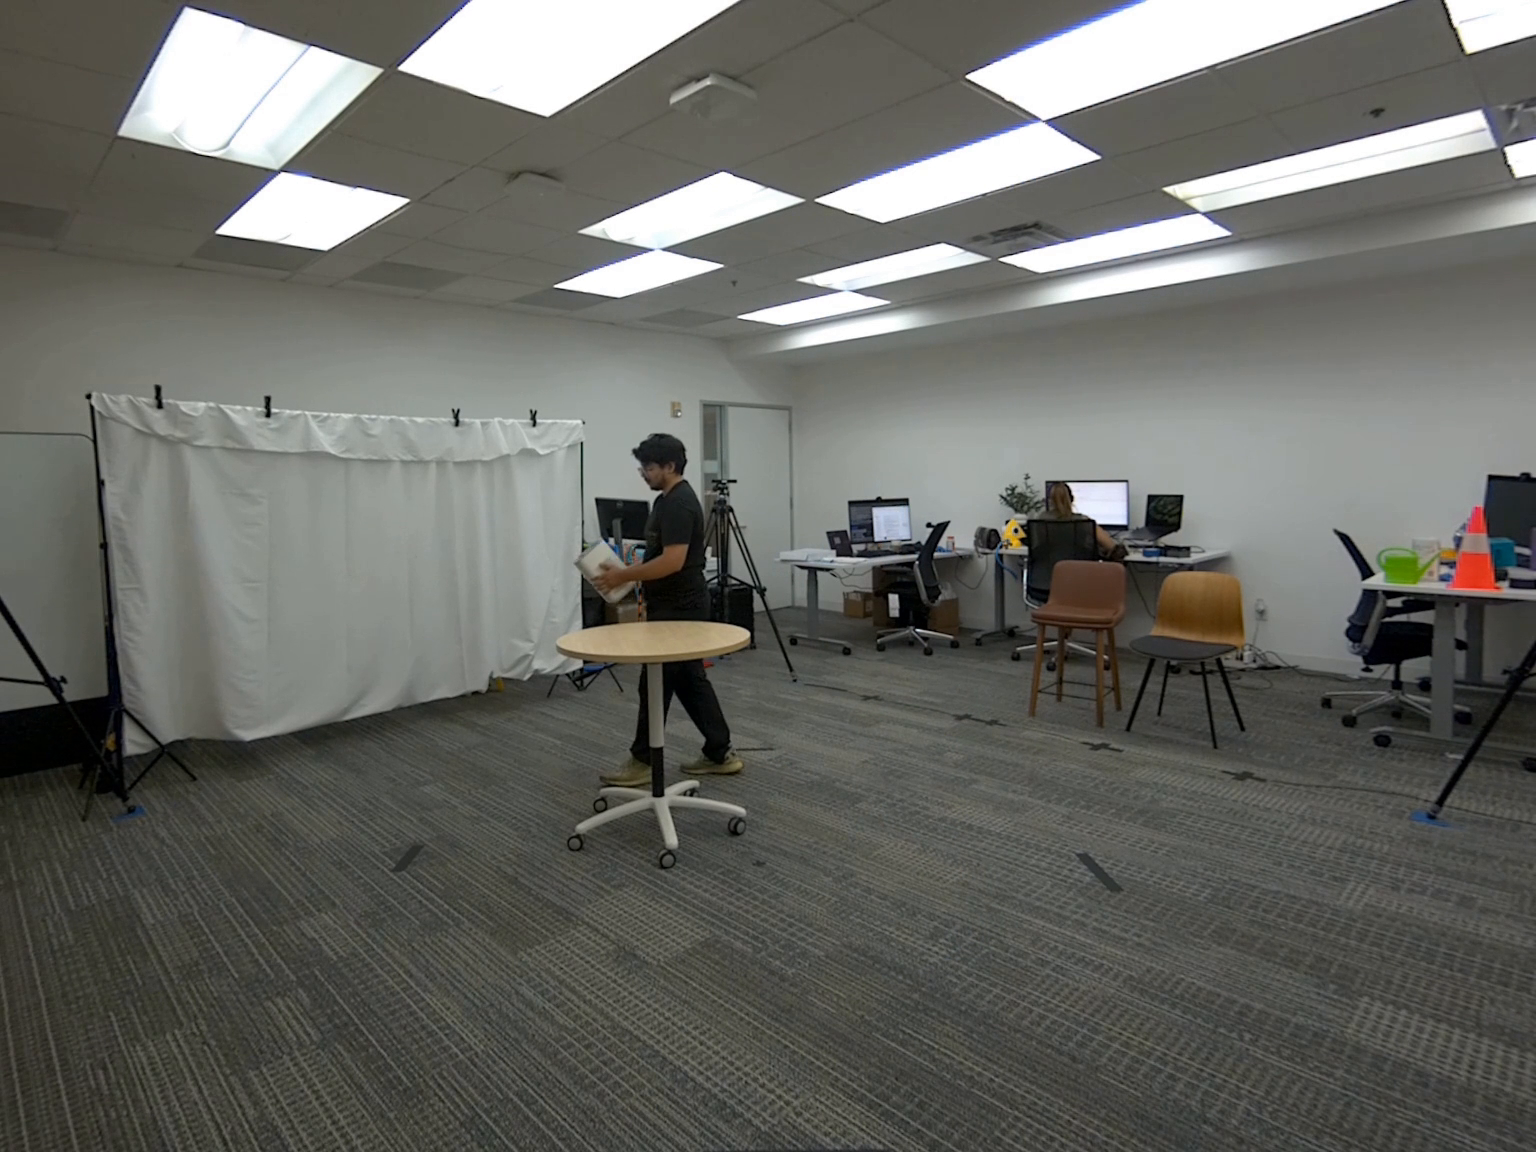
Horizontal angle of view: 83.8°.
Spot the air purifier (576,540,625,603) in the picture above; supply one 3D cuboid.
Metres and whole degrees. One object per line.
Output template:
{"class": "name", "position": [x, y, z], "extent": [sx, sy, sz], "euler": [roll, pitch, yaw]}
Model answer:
{"class": "air purifier", "position": [-0.744, -0.025, 3.960], "extent": [0.173, 0.258, 0.171], "euler": [-43, 12, -12]}
